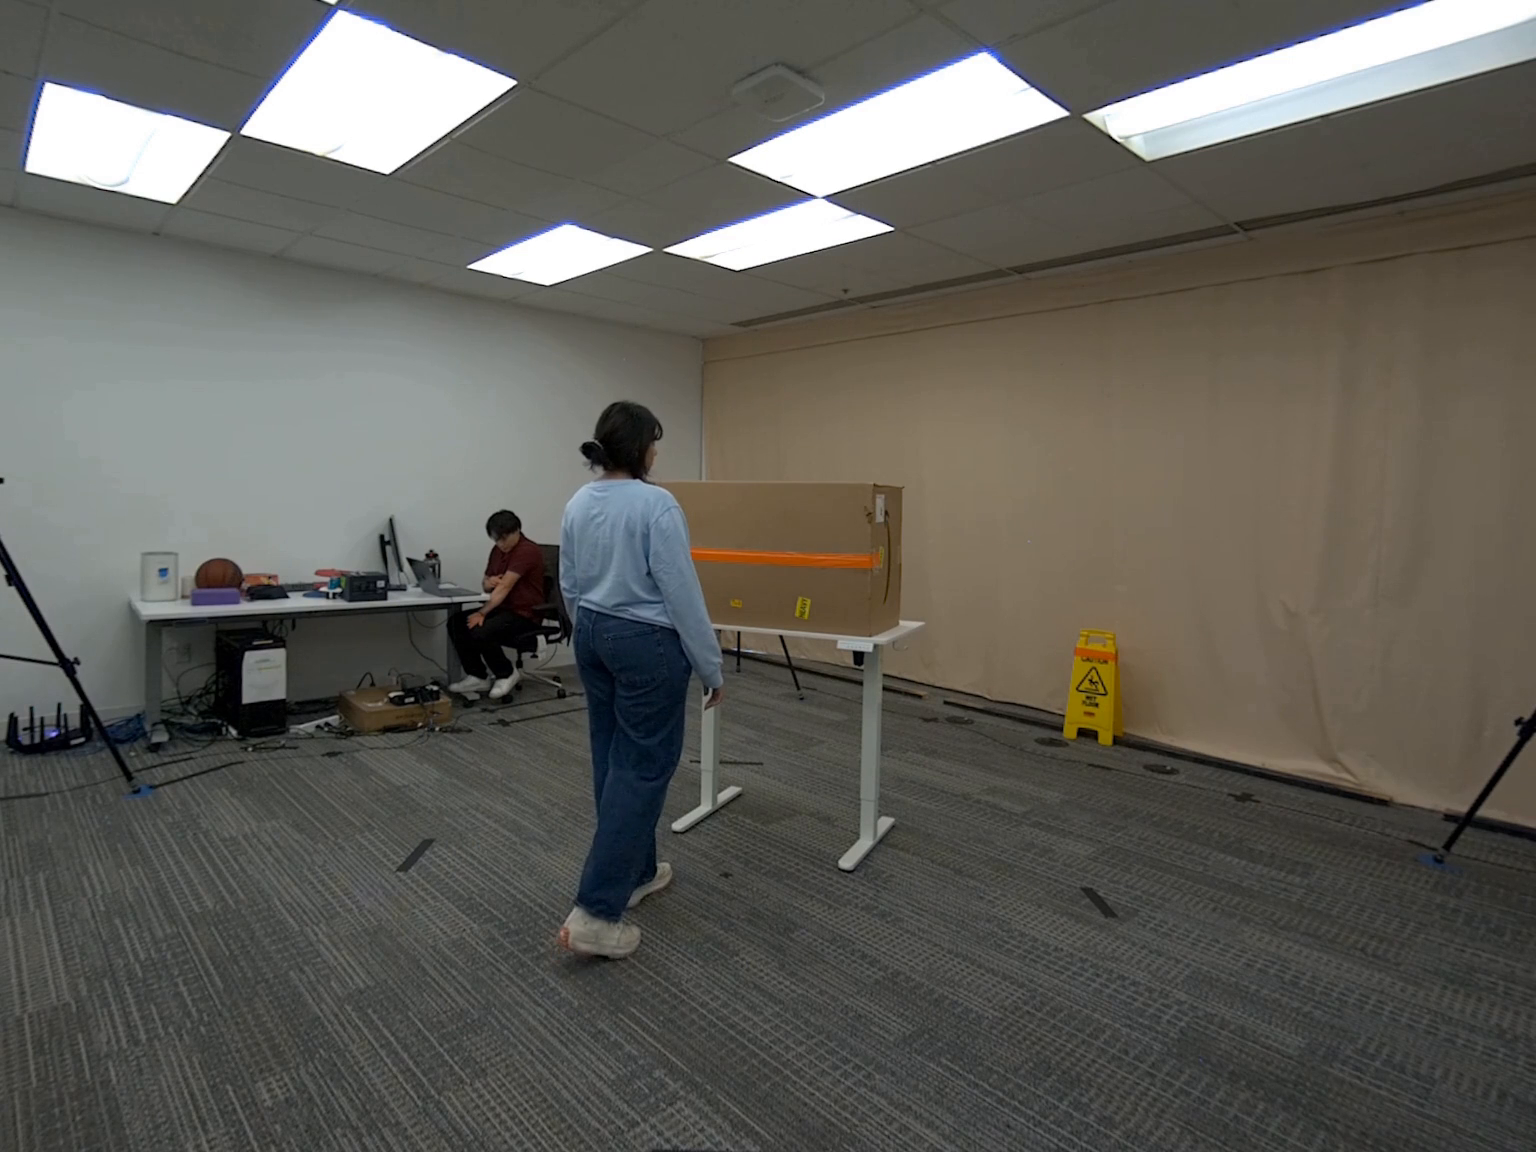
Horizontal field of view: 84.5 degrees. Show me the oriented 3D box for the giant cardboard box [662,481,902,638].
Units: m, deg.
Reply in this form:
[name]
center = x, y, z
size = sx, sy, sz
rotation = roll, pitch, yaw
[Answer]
[giant cardboard box]
center = 0.007, -0.094, 3.512
size = 1.046, 0.576, 0.418
rotation = 3, 3, 27
